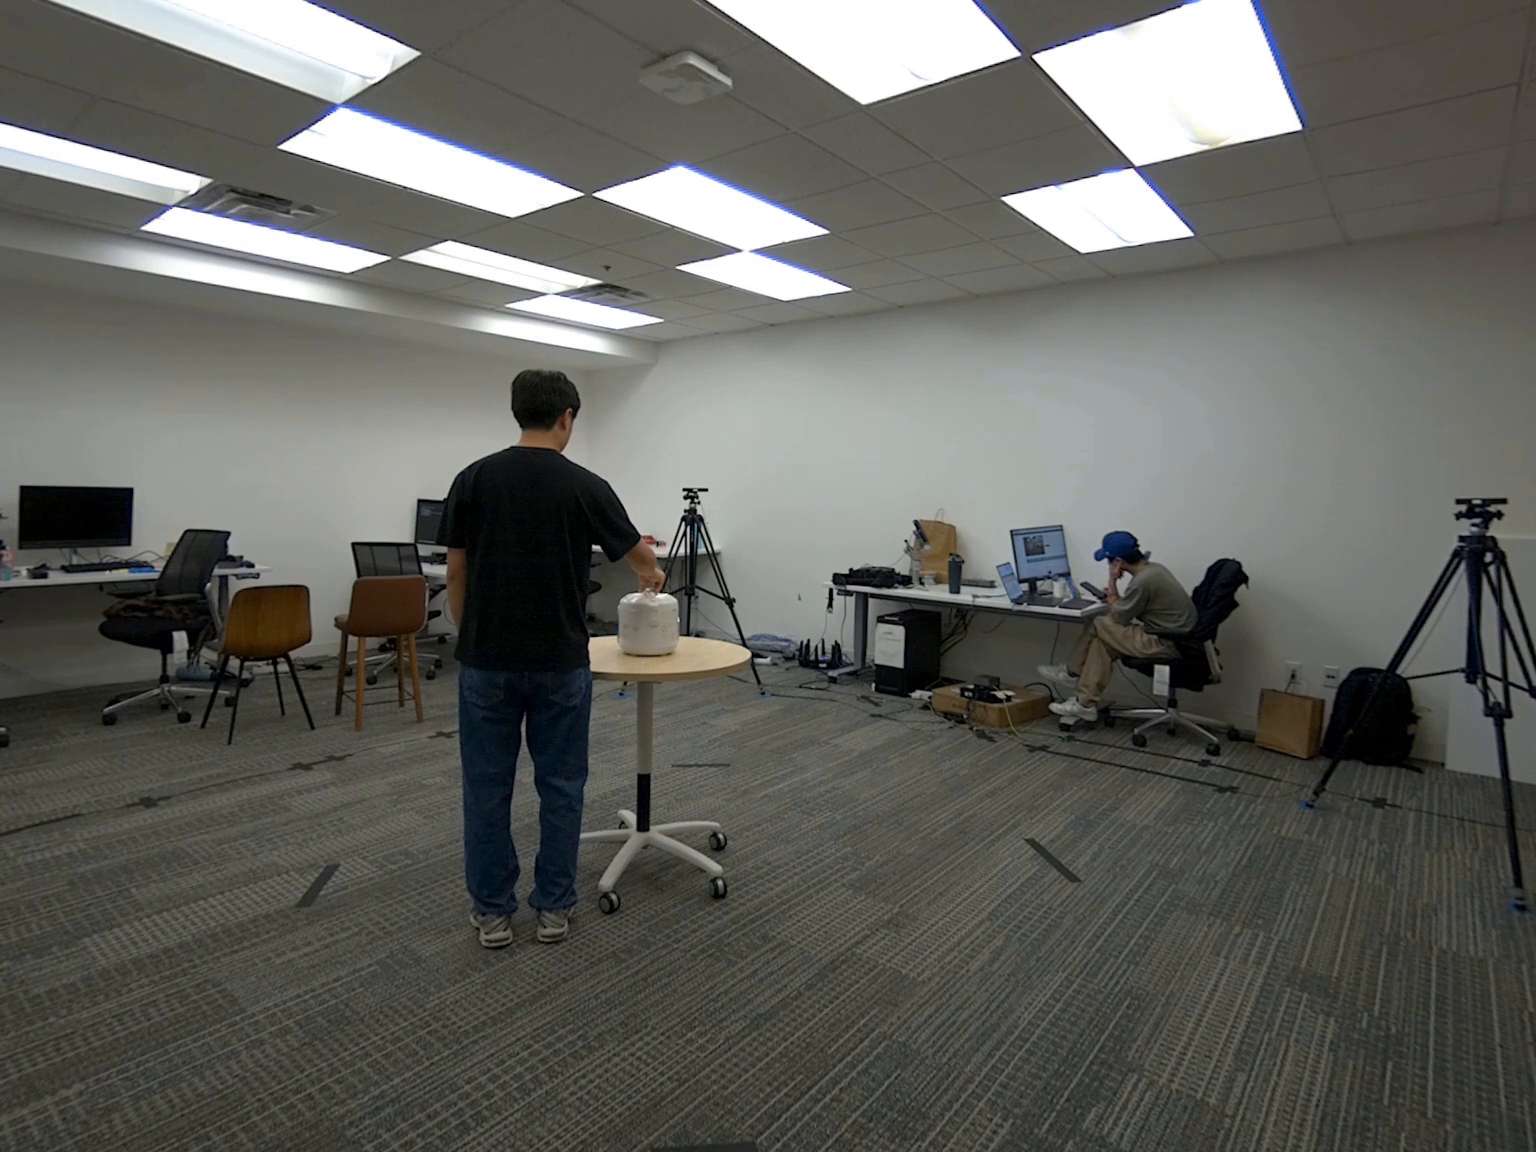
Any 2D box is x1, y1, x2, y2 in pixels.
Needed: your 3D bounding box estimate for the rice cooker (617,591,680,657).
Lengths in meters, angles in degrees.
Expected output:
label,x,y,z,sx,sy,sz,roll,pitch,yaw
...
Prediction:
label,x,y,z,sx,sy,sz,roll,pitch,yaw
rice cooker,-0.441,0.158,3.073,0.214,0.232,0.225,-2,5,-15
